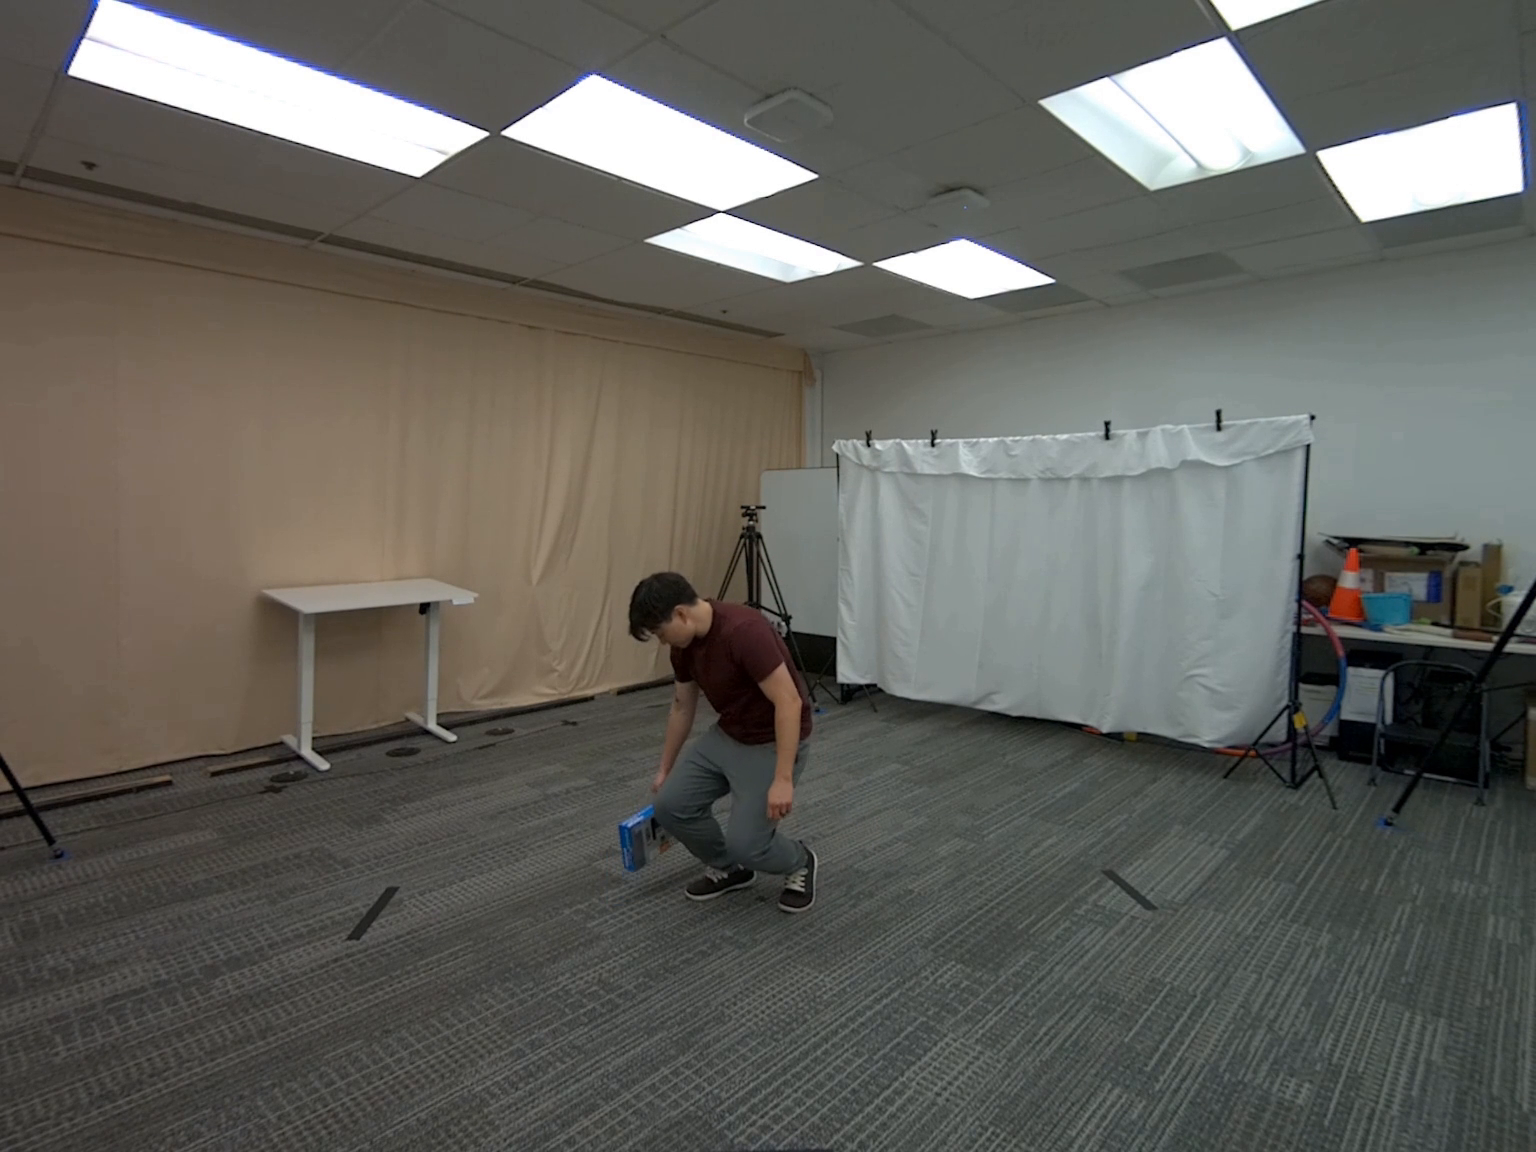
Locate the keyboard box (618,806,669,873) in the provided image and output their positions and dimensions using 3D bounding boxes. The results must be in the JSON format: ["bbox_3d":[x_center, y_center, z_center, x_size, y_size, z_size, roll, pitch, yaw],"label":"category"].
[{"bbox_3d":[-0.374,0.916,3.133,0.061,0.174,0.426,1,13,38],"label":"keyboard box"}]
